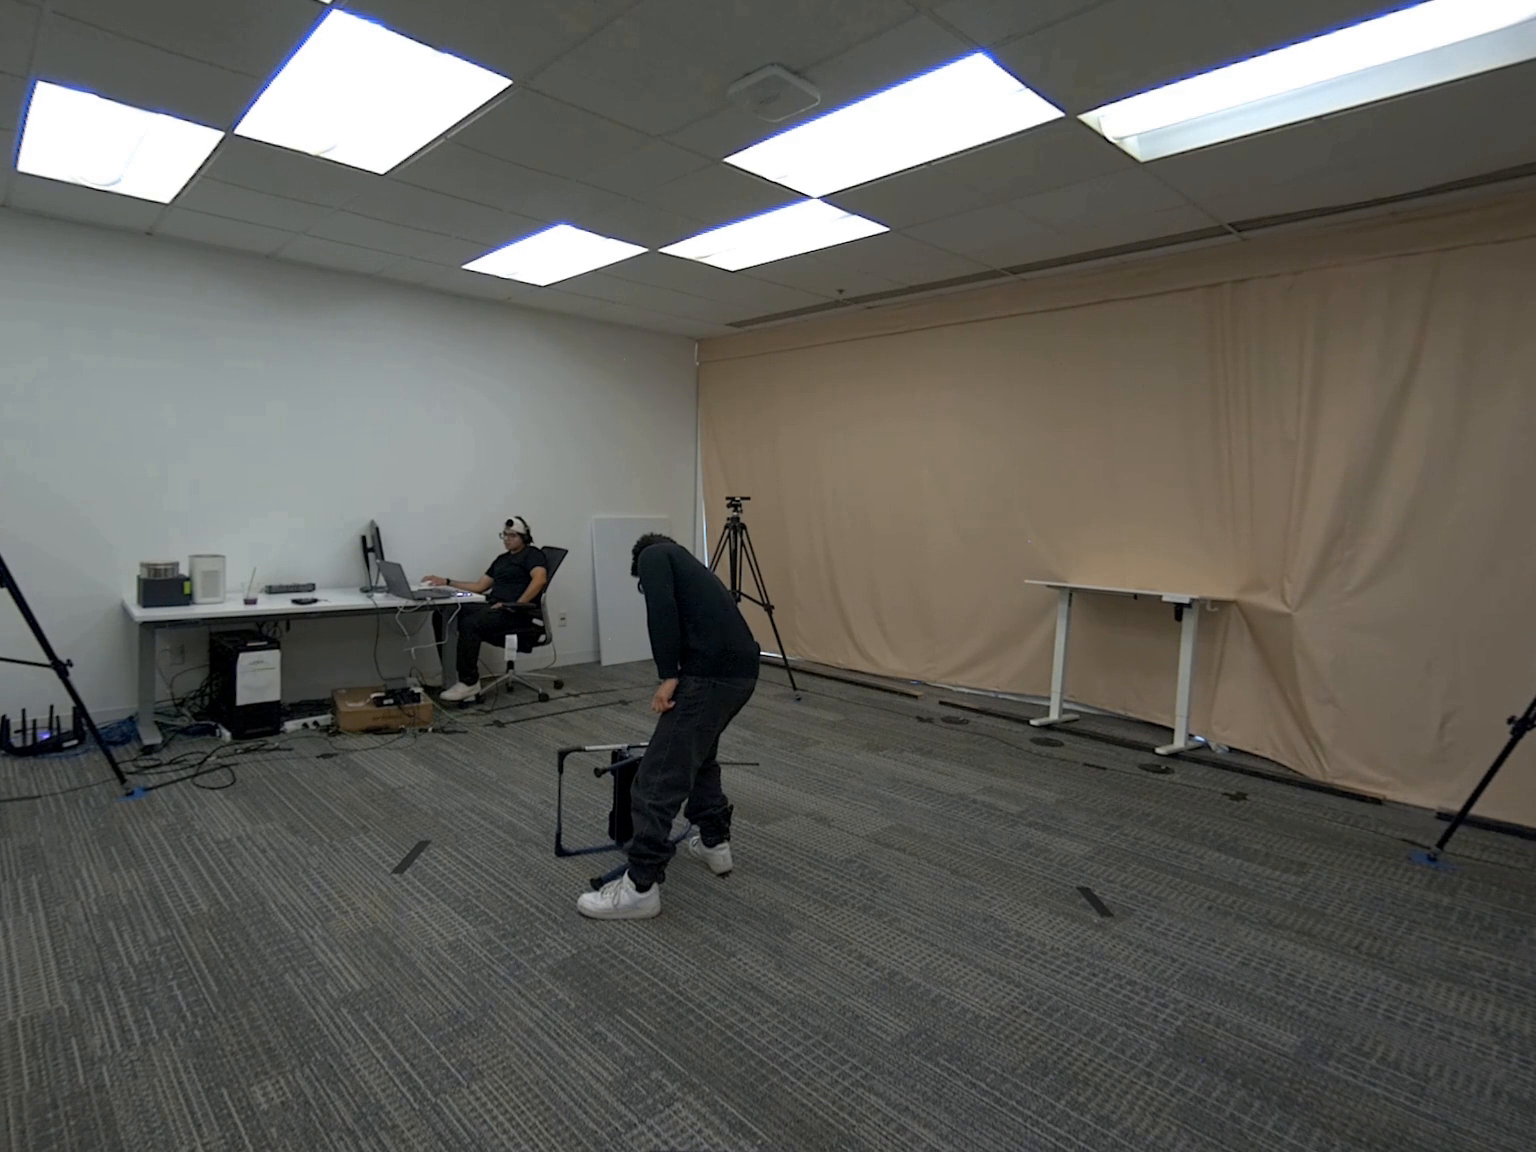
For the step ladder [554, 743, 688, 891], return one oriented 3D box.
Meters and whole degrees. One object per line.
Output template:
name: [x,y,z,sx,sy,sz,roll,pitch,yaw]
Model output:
step ladder: [-0.486,0.875,3.279,0.592,0.430,0.358,0,4,-39]
